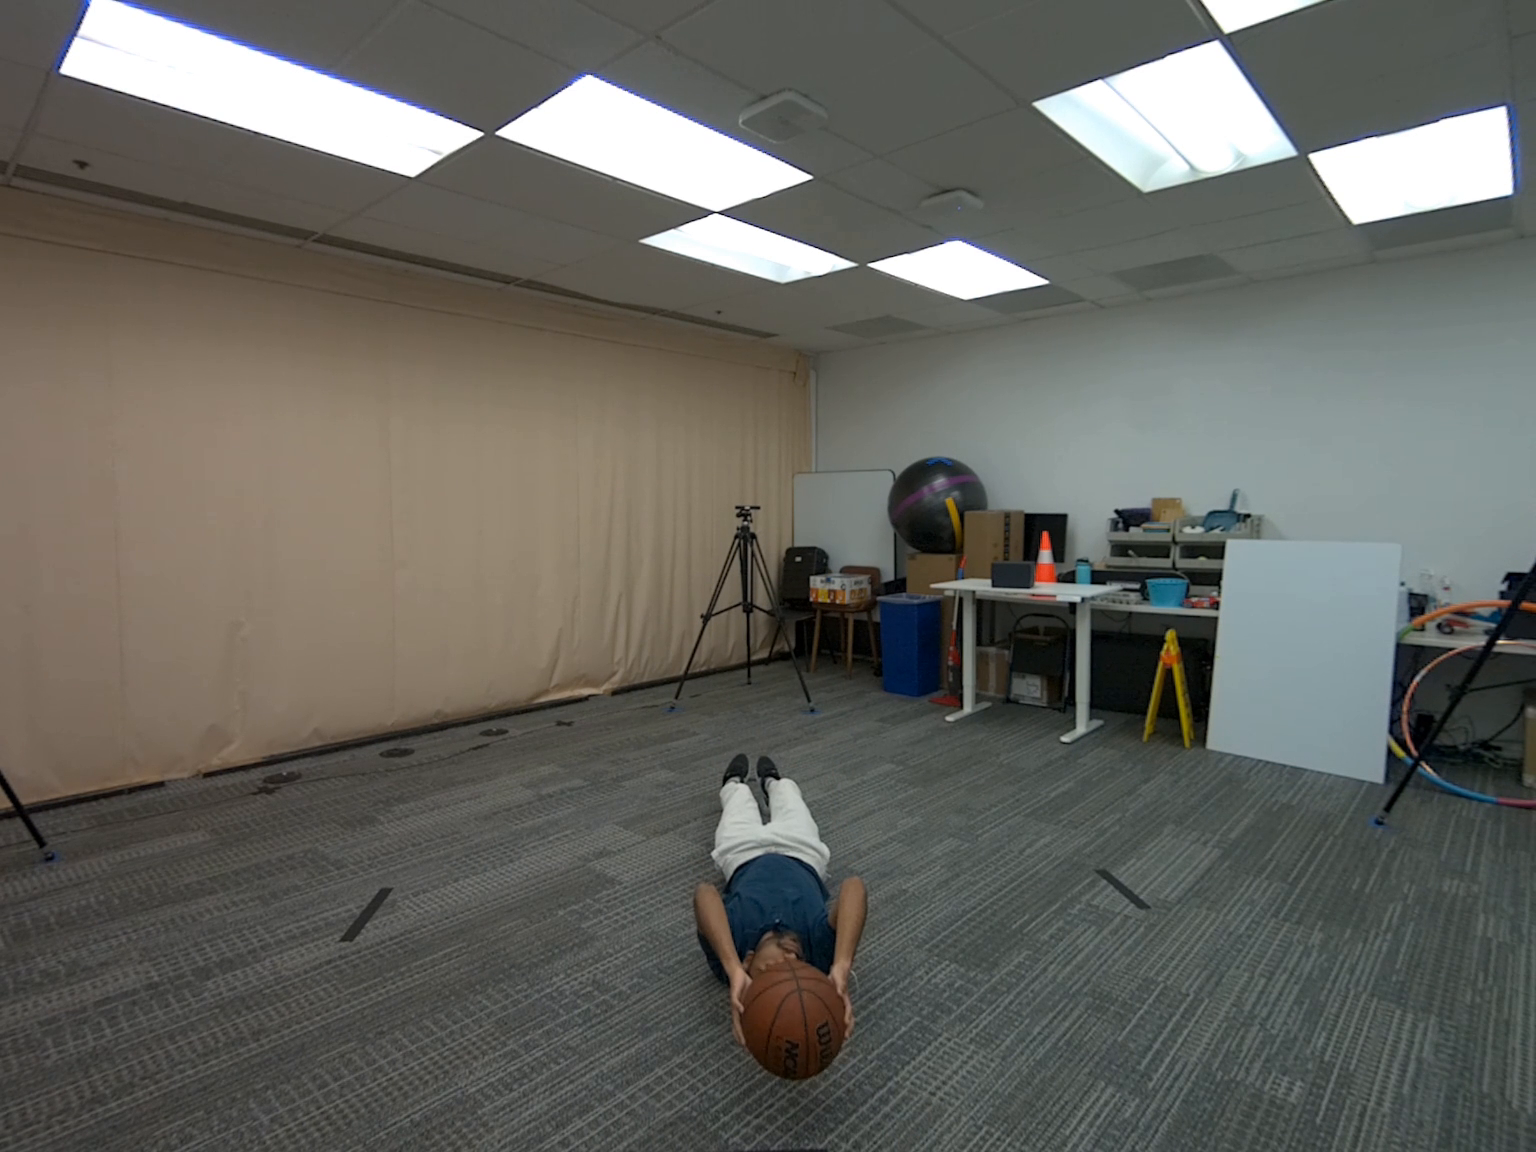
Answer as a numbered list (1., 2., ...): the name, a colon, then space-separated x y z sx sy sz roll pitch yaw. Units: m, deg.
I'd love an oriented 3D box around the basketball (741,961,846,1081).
1. basketball: 0.064 1.012 1.920 0.236 0.235 0.237 0 4 -2
